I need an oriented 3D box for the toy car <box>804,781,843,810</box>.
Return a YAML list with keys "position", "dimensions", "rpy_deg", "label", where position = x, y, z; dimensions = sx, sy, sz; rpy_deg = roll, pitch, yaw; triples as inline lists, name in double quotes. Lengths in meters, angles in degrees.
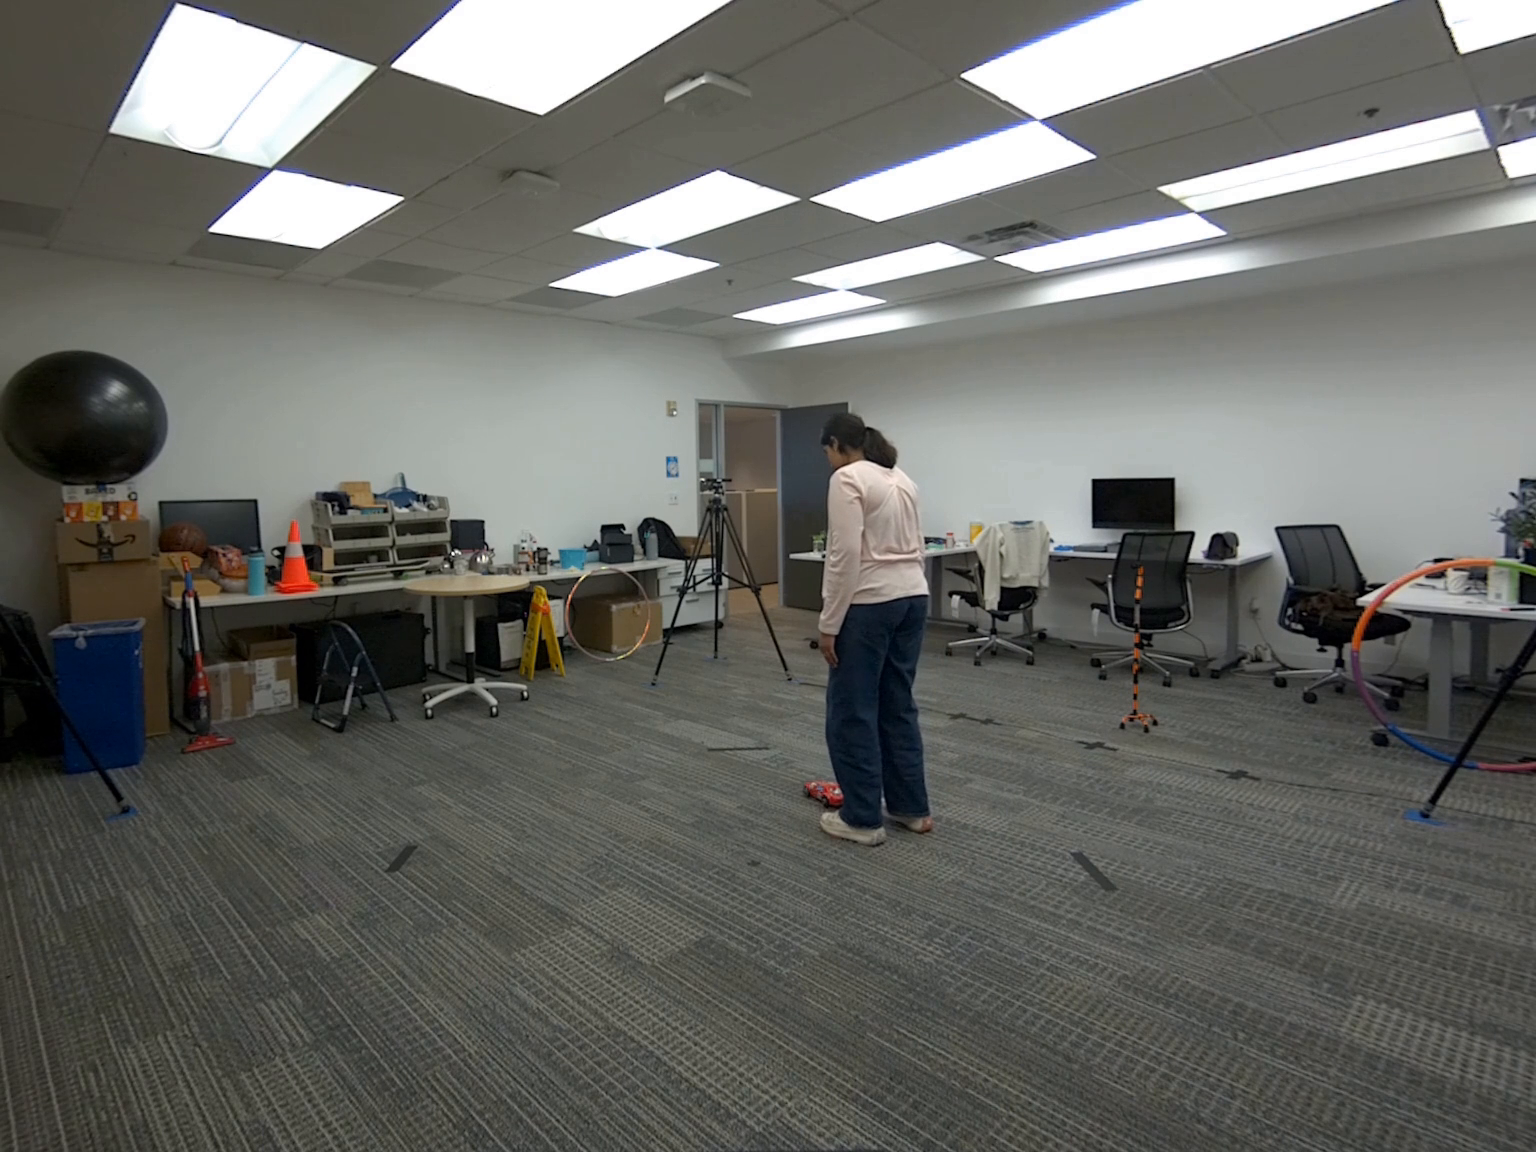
- position: [0.262, 0.943, 3.701]
  dimensions: [0.127, 0.083, 0.259]
  rpy_deg: [-3, -4, -30]
  label: "toy car"
